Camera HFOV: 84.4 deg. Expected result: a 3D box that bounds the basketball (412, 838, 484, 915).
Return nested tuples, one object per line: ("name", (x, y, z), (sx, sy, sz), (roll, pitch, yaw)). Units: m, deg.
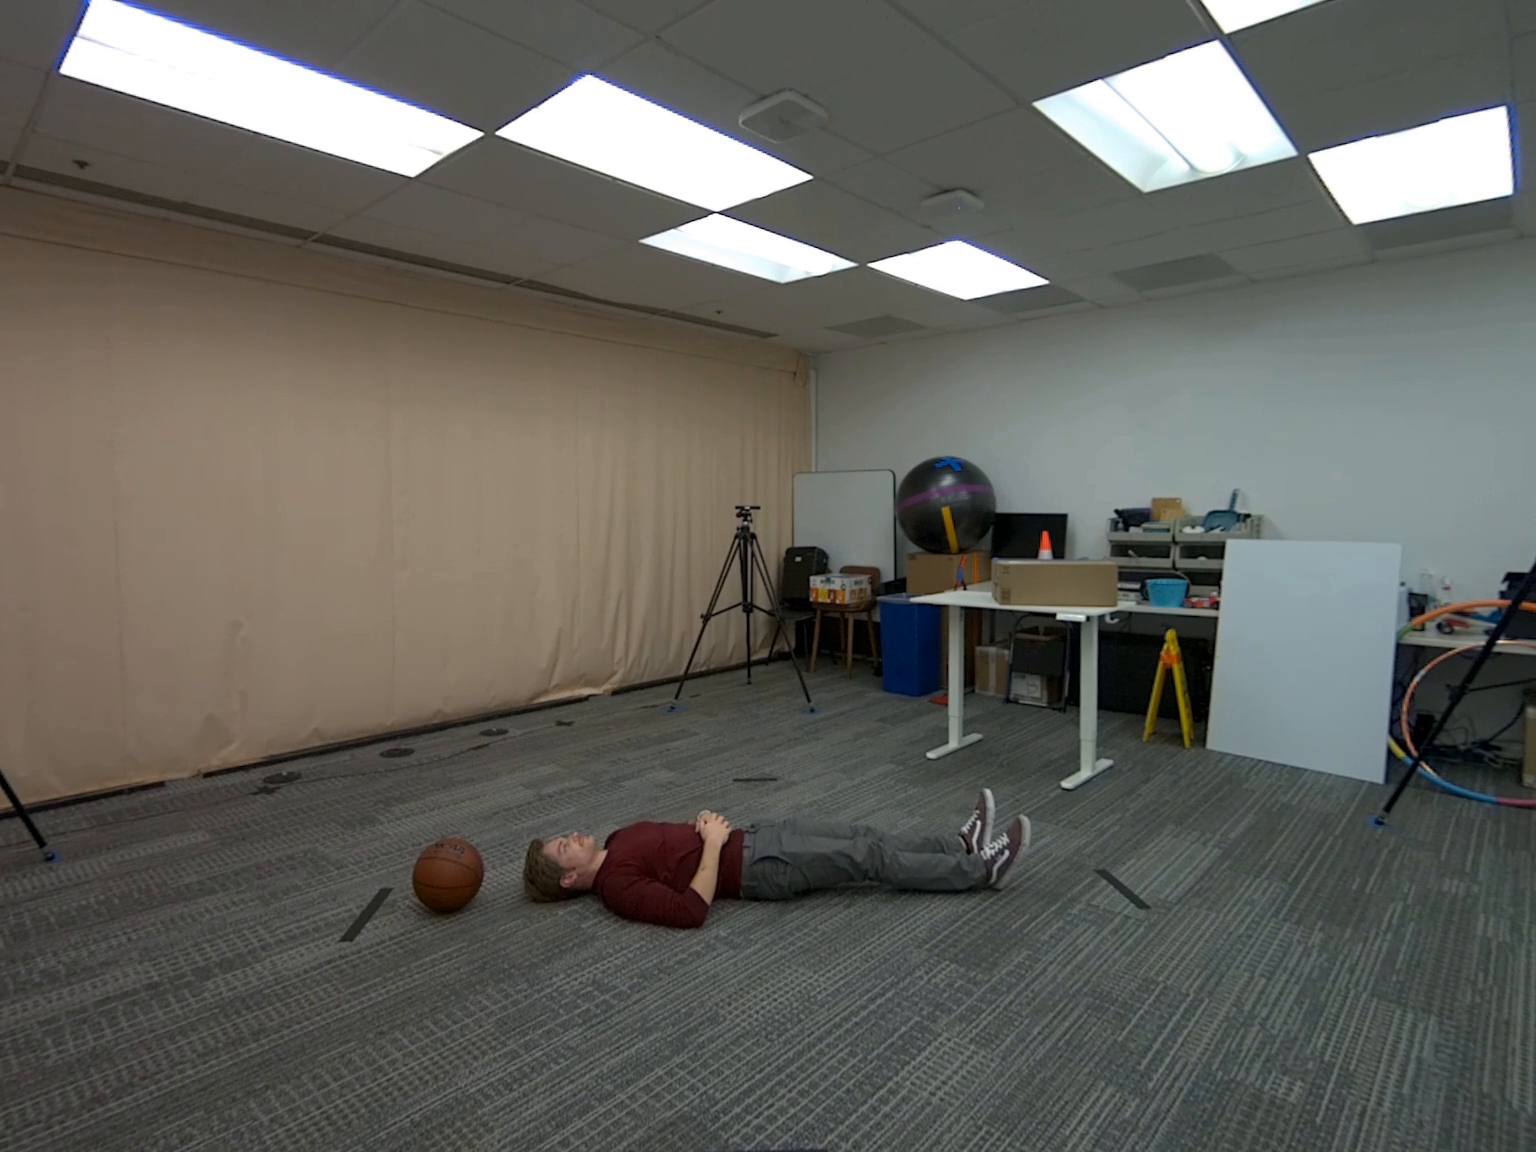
("basketball", (-1.108, 1.038, 2.923), (0.236, 0.235, 0.237), (0, 4, -2))
